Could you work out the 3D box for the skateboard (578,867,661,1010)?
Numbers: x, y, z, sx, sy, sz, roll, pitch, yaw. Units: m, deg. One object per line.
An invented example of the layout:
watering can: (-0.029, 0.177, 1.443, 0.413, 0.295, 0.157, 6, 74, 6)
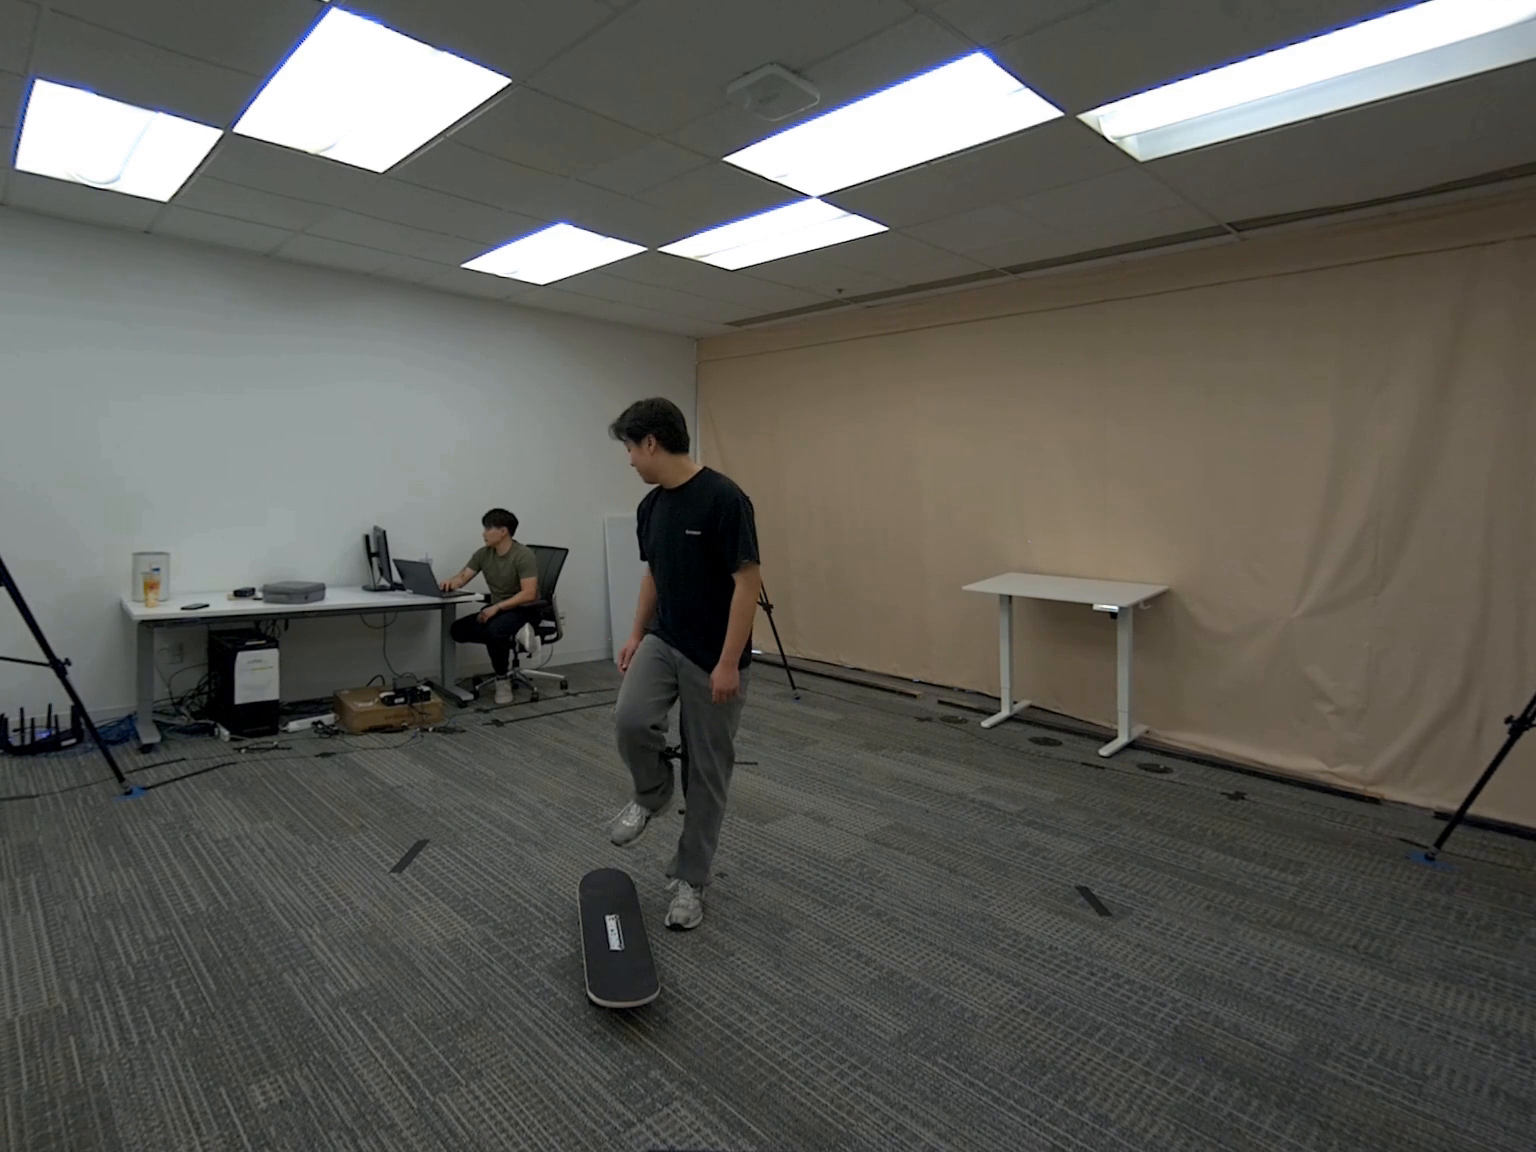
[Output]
skateboard: (-0.469, 1.096, 2.508, 0.191, 0.110, 0.797, 0, 6, -16)
